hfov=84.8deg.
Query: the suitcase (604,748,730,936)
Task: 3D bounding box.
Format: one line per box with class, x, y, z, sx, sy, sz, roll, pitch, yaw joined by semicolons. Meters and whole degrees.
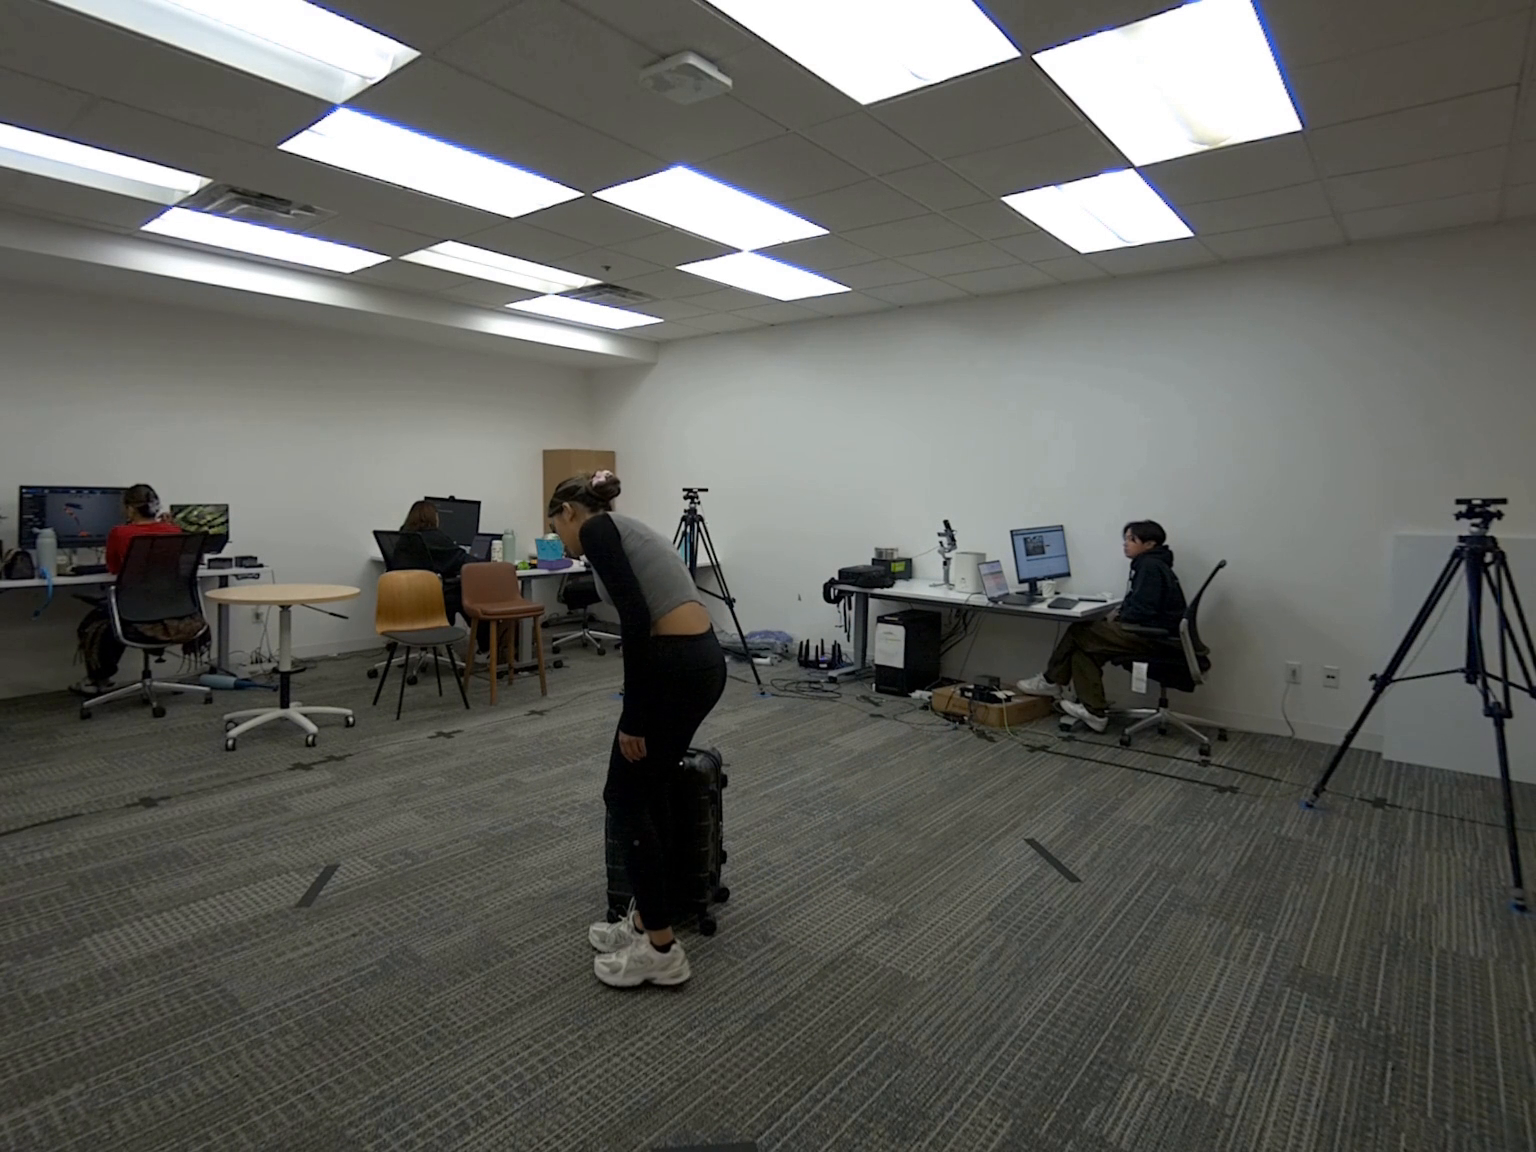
suitcase;-0.342;0.822;2.783;0.380;0.549;0.246;0;1;10
